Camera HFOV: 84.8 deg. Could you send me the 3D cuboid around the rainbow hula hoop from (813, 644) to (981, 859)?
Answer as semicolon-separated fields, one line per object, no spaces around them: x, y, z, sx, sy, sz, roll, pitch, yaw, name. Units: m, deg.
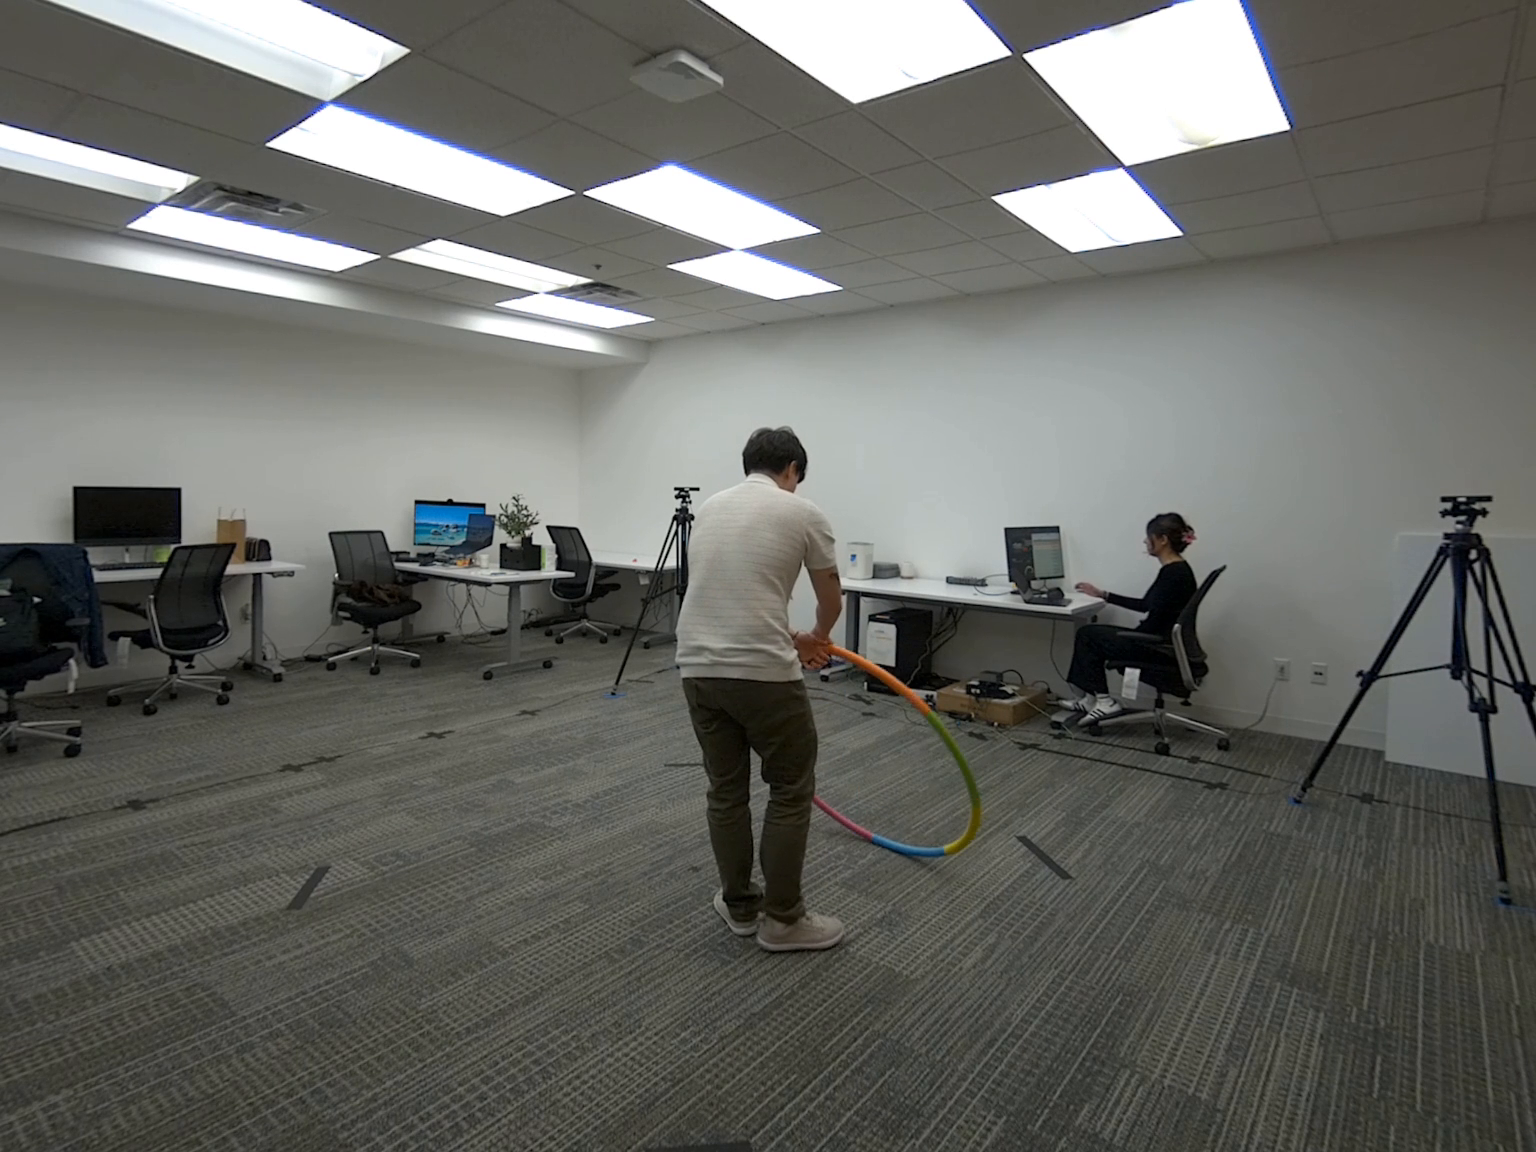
0.313;0.634;3.146;1.012;0.951;0.035;5;35;44;rainbow hula hoop
